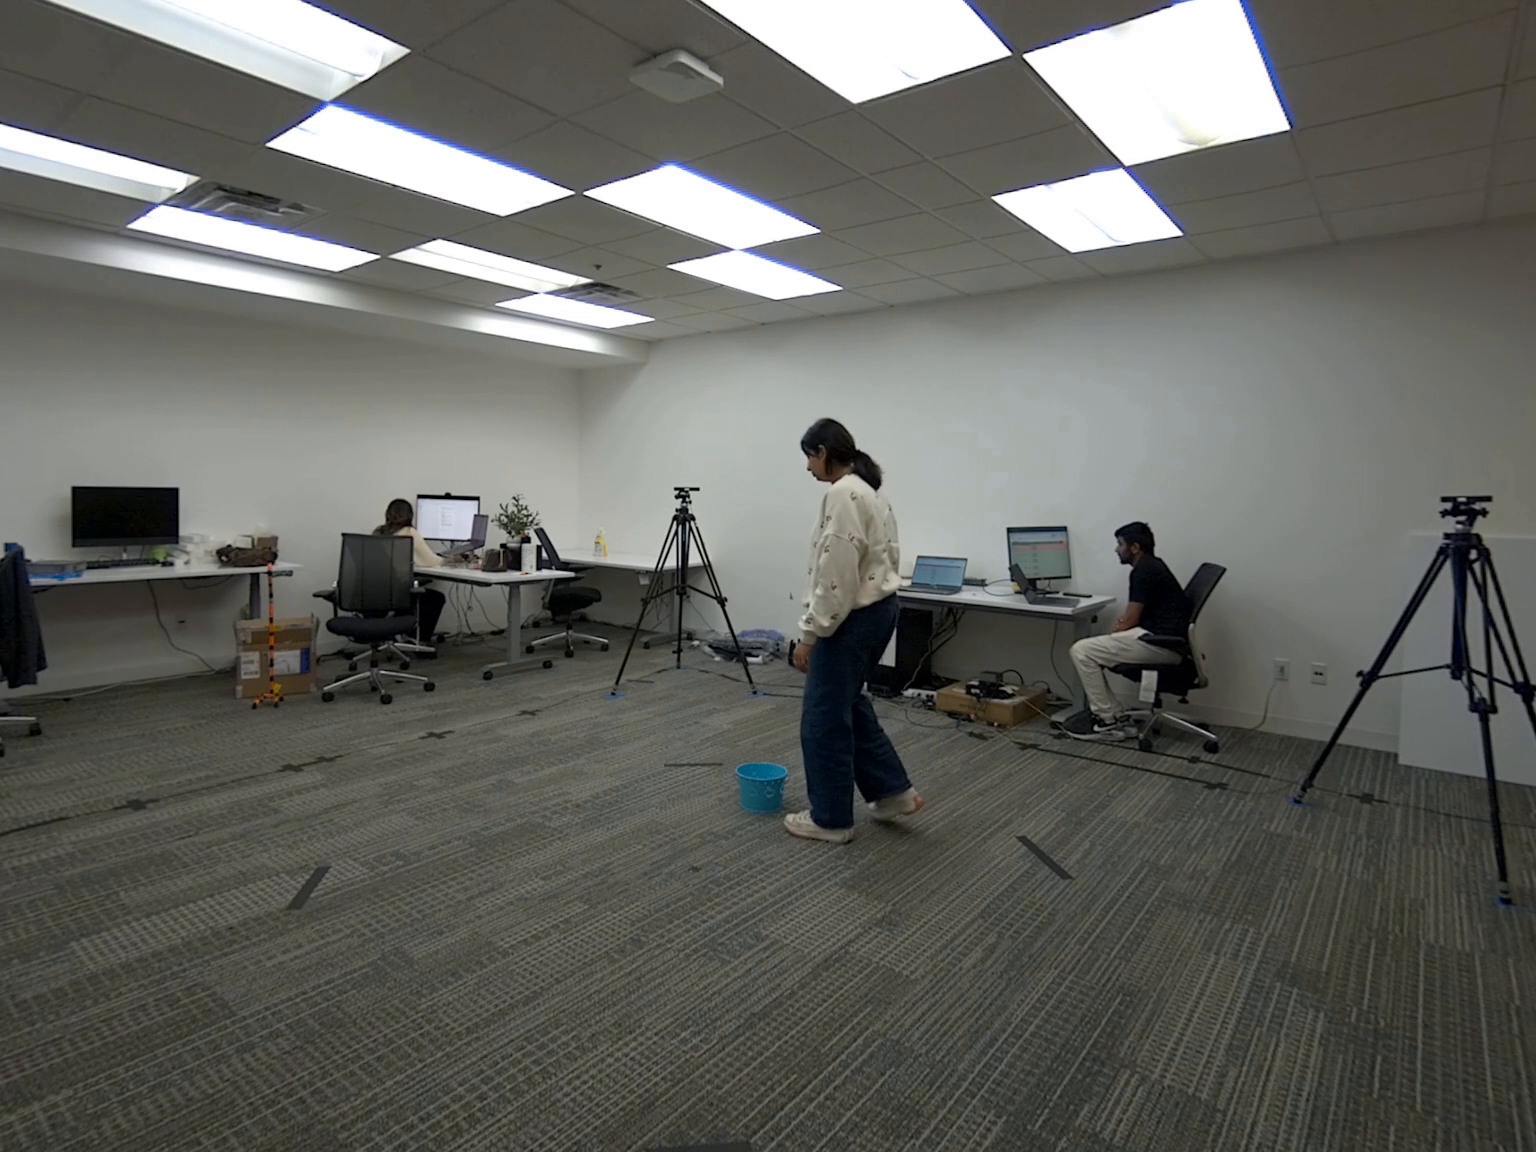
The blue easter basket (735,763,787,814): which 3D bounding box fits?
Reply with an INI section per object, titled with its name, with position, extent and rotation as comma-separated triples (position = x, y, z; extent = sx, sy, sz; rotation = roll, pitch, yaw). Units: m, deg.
[blue easter basket]
position = -0.034, 0.927, 3.753
extent = 0.243, 0.155, 0.245
rotation = 1, 5, -2
